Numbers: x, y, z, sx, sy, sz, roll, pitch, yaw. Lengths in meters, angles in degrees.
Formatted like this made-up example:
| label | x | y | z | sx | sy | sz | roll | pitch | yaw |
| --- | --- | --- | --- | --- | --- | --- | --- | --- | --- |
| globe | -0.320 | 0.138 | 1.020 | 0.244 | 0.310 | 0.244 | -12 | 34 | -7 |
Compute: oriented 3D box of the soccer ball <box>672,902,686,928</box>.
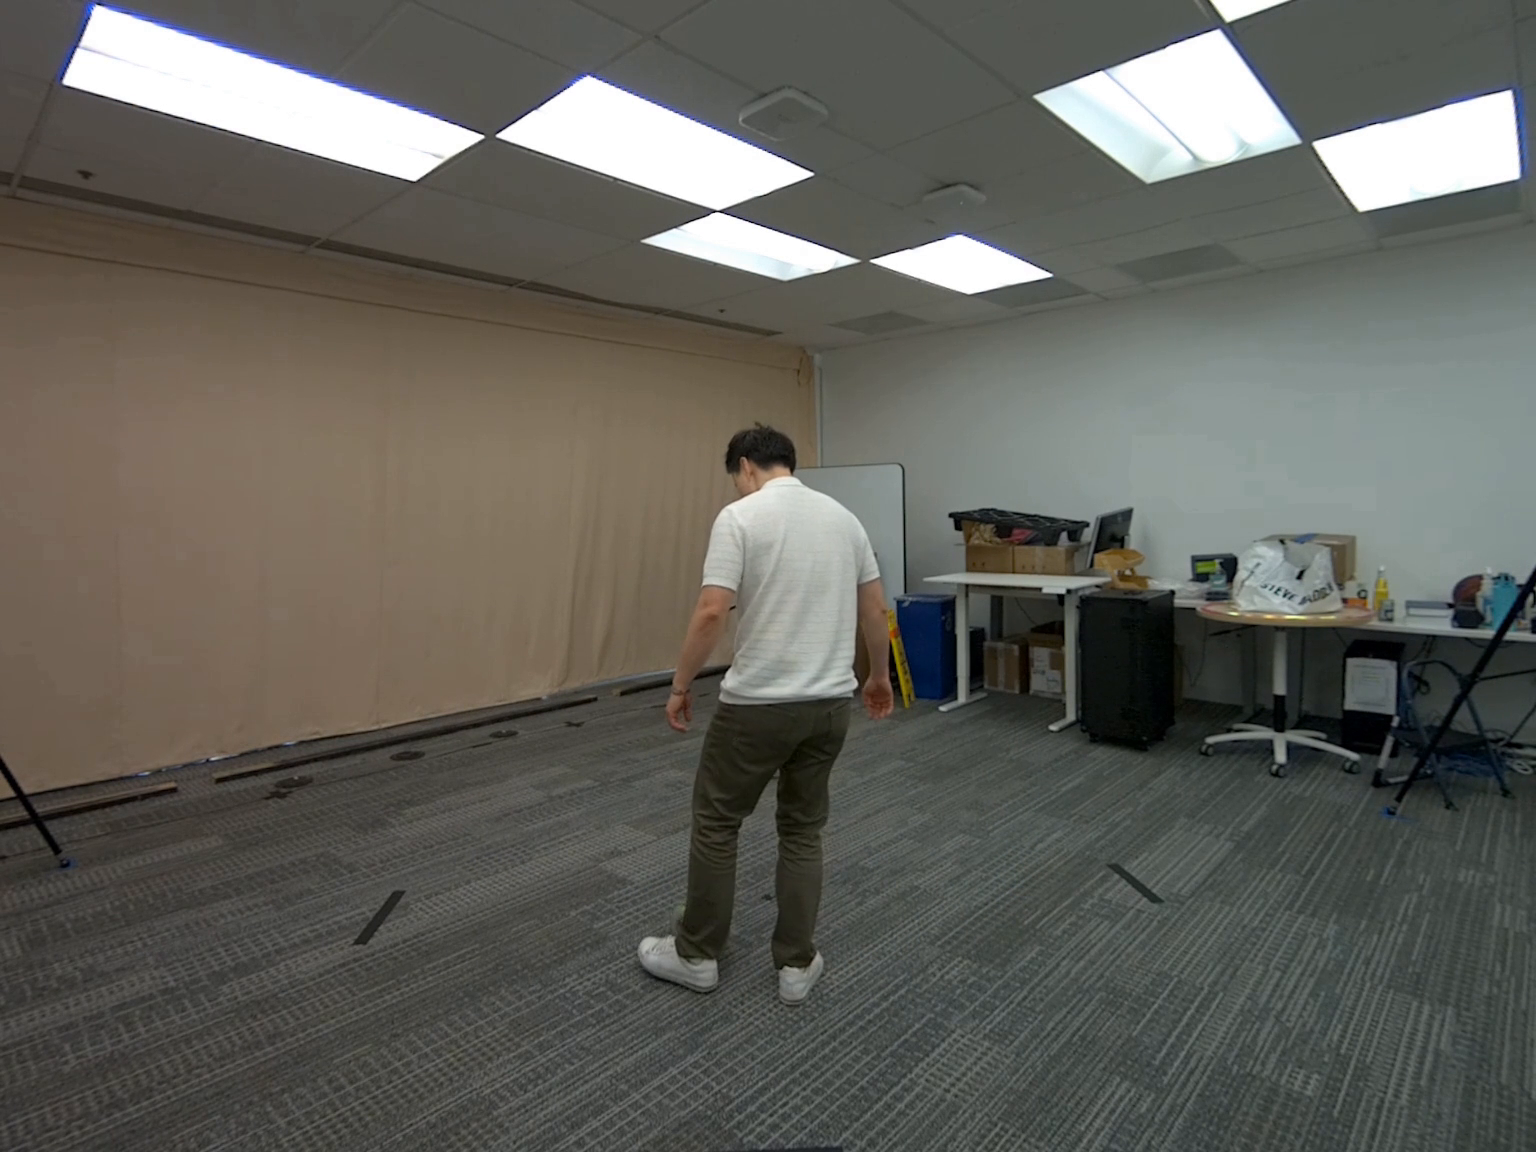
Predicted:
| label | x | y | z | sx | sy | sz | roll | pitch | yaw |
| --- | --- | --- | --- | --- | --- | --- | --- | --- | --- |
| soccer ball | -0.203 | 1.084 | 2.603 | 0.187 | 0.187 | 0.188 | -1 | 4 | -2 |
